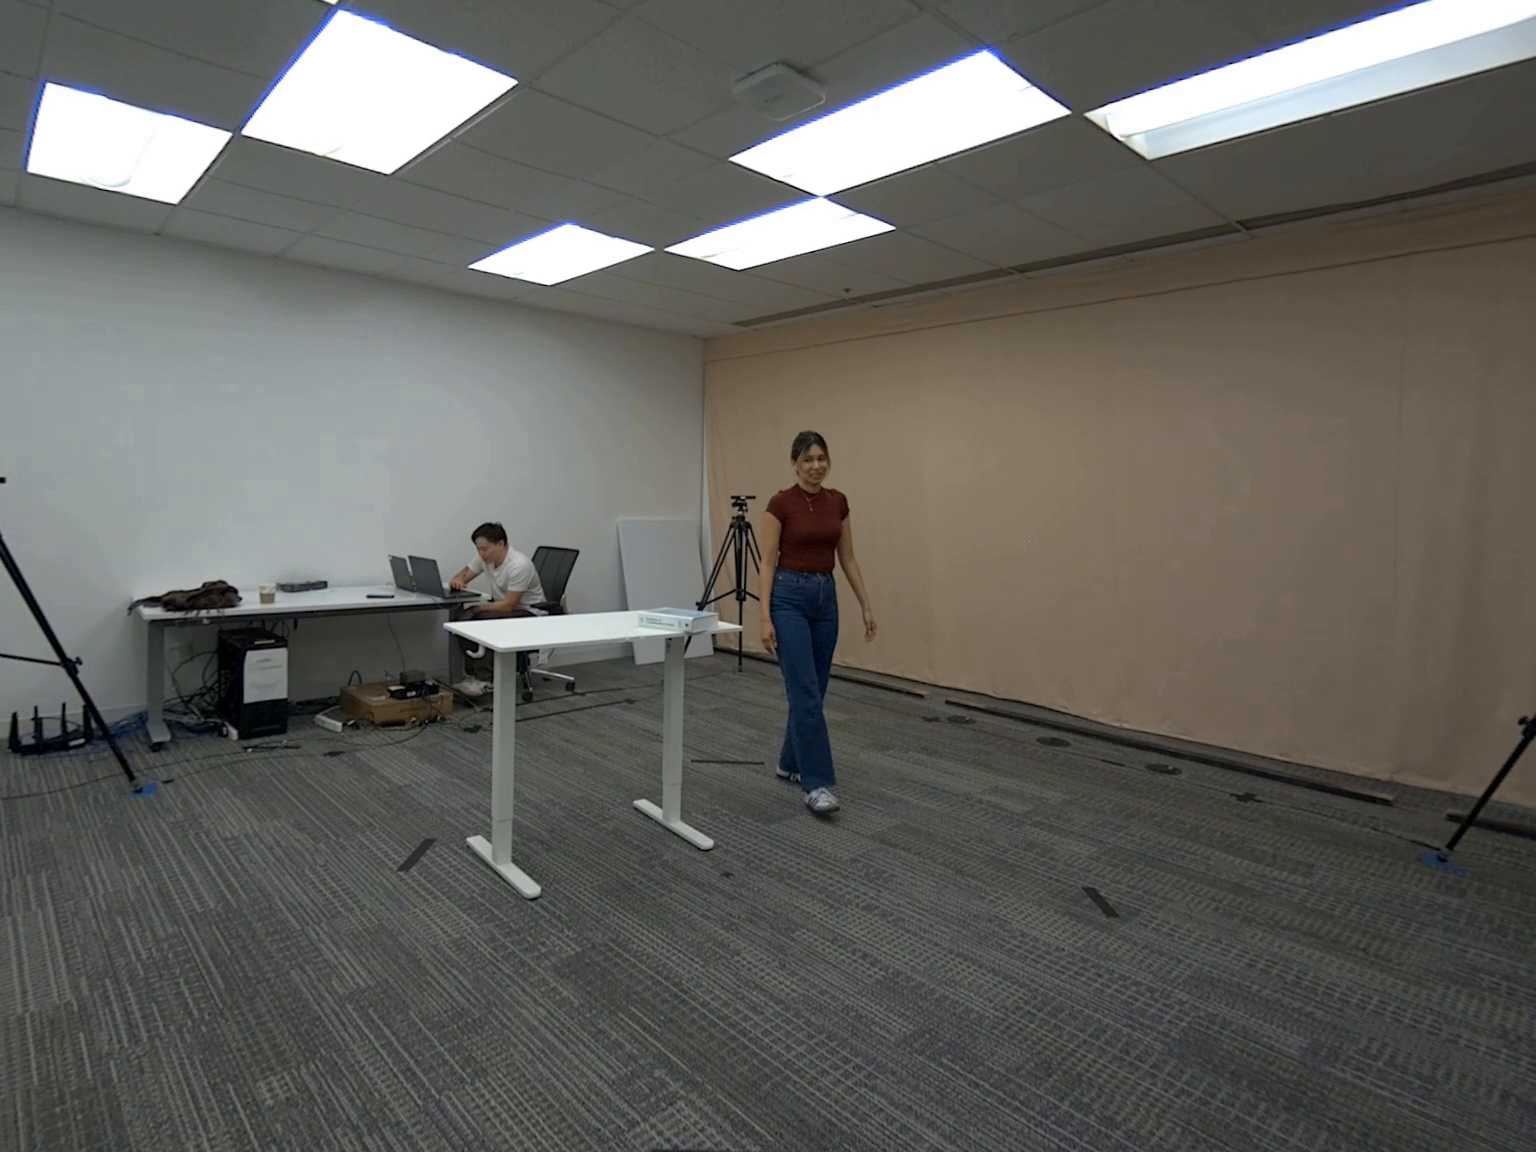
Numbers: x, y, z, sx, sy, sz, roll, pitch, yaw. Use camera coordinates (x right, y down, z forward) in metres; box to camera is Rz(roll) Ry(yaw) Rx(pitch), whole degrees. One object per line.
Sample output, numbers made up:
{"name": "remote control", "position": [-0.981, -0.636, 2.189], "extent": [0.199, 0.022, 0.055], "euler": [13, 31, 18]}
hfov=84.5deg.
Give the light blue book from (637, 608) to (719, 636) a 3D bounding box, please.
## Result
{"name": "light blue book", "position": [-0.354, 0.169, 3.298], "extent": [0.267, 0.059, 0.187], "euler": [5, 6, 32]}
